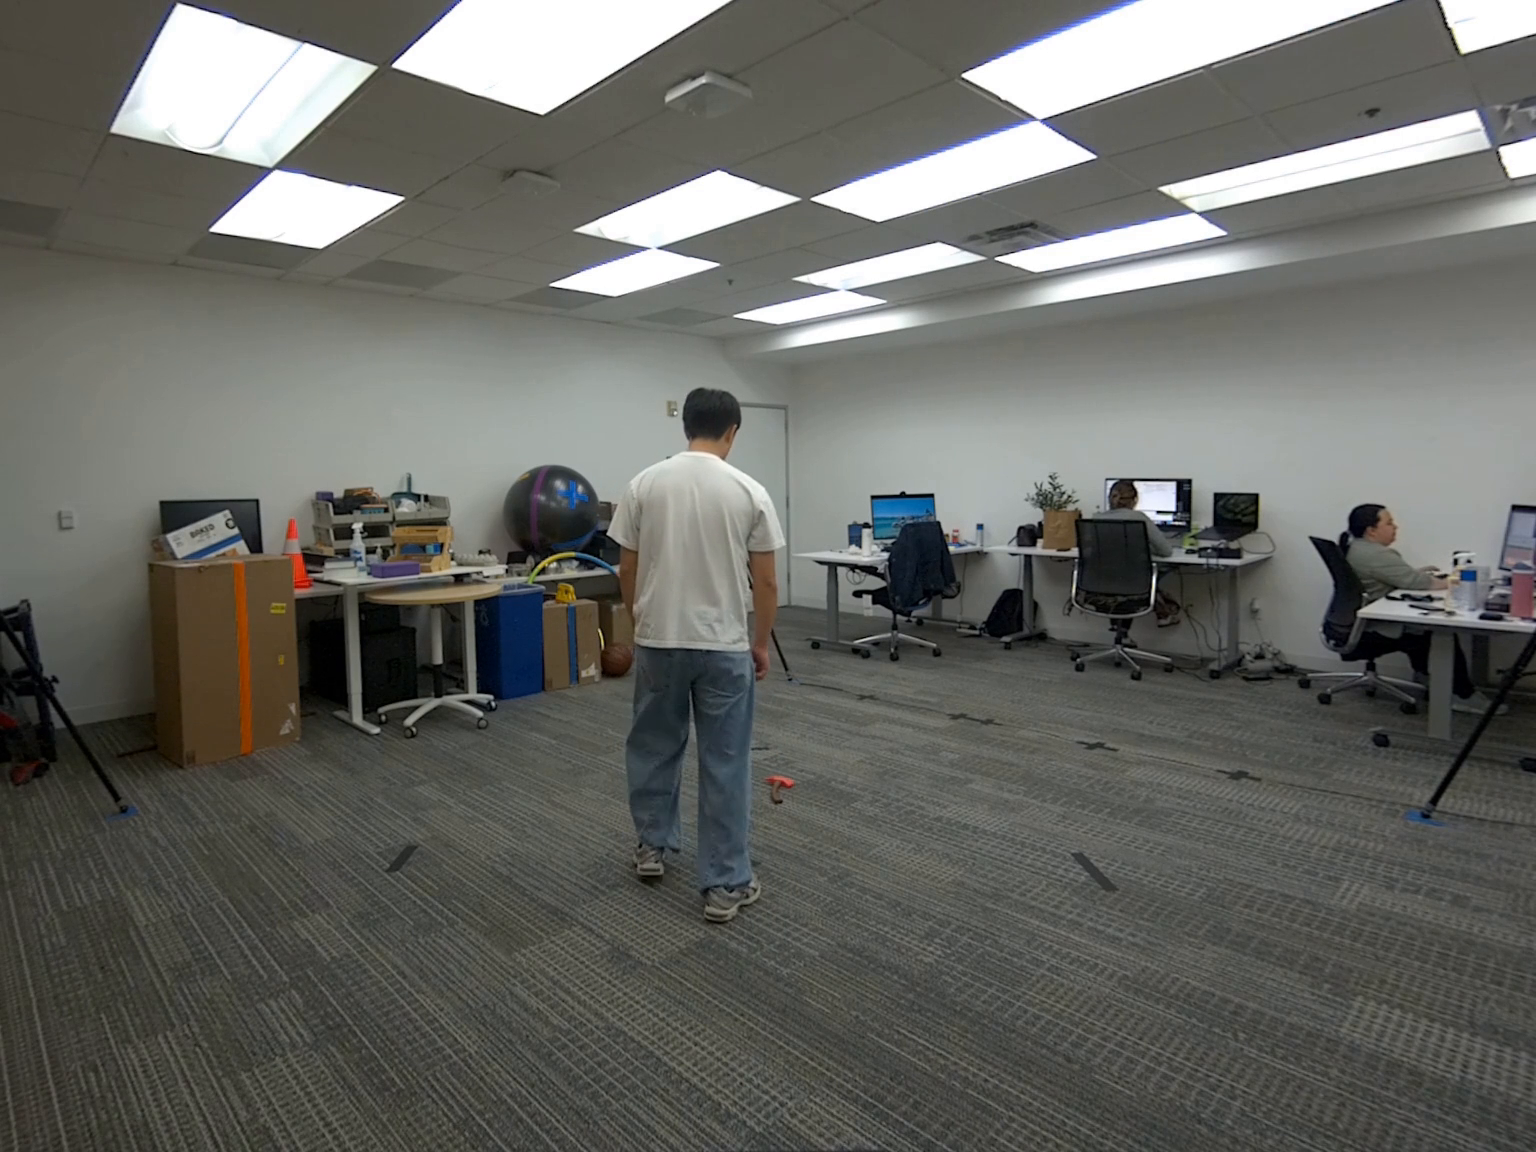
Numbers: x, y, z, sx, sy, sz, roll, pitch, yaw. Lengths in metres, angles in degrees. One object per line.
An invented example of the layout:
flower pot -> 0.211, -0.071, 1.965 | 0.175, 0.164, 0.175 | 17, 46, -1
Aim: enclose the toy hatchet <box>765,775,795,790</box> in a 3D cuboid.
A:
toy hatchet -> 0.071, 0.953, 3.804 | 0.130, 0.029, 0.274 | 2, 9, -9
